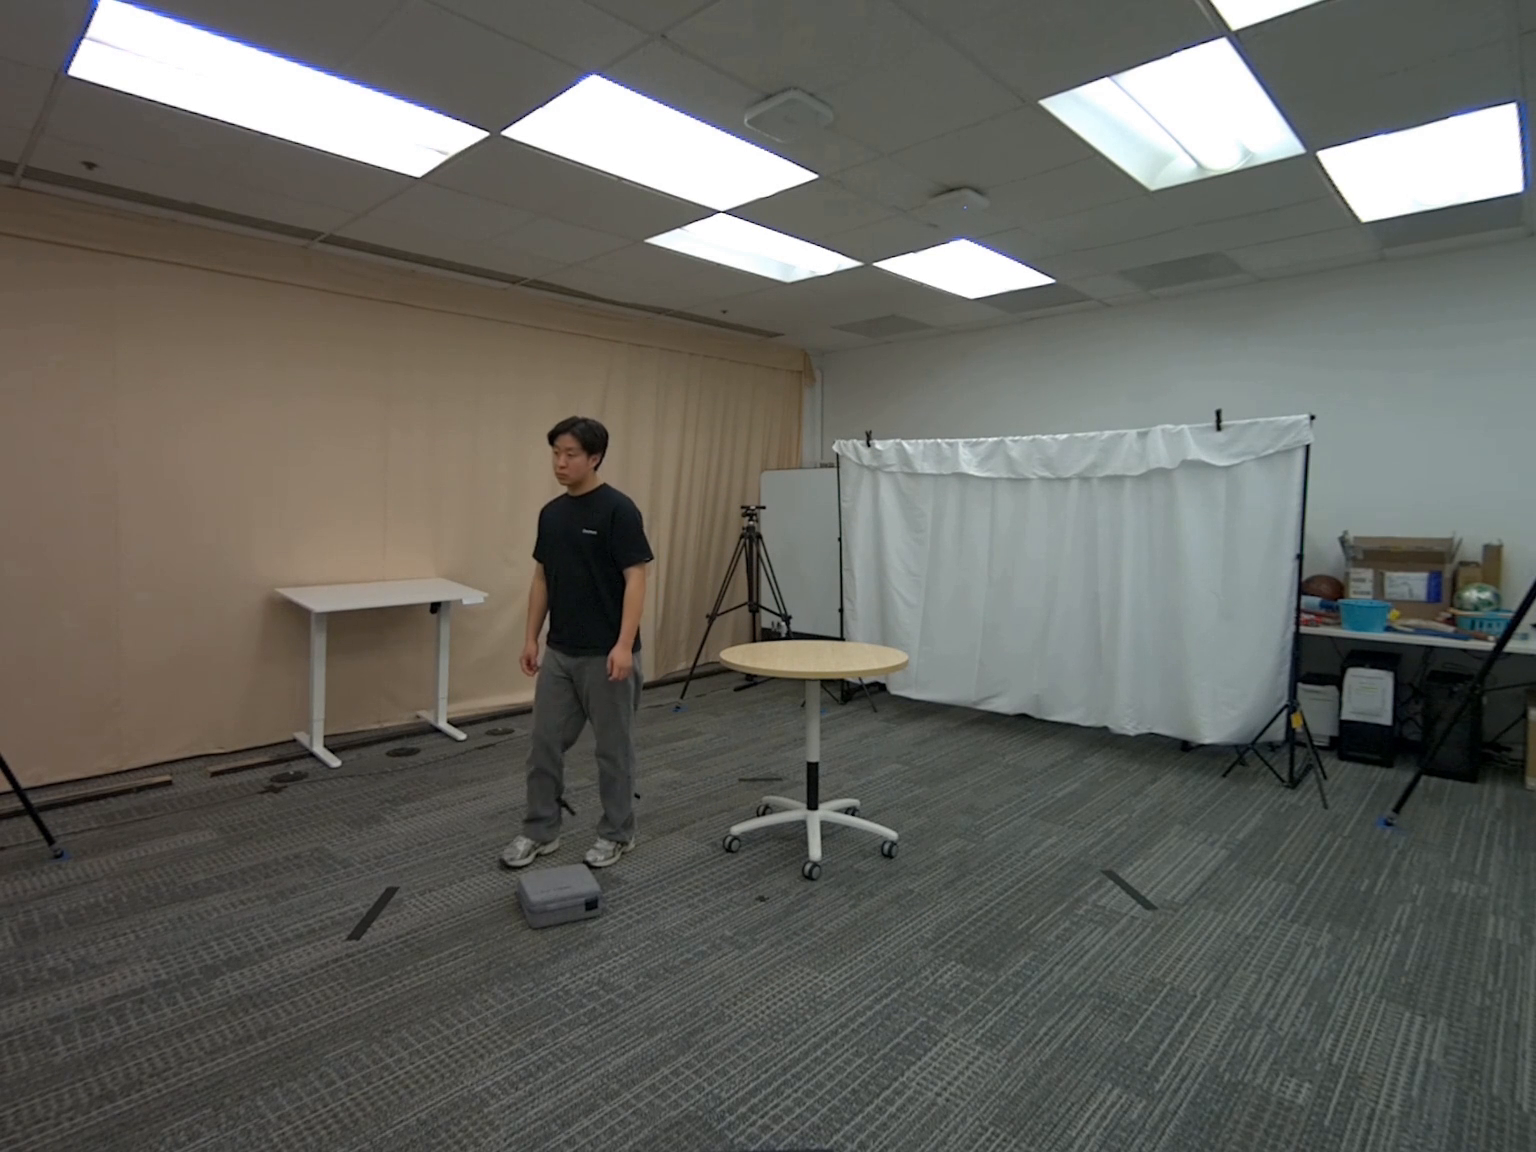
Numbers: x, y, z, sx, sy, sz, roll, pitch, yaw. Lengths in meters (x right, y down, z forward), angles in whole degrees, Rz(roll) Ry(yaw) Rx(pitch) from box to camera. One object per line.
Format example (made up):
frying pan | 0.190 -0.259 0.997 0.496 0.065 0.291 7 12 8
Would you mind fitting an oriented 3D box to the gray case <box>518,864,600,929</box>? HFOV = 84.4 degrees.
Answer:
gray case | -0.729 1.102 2.924 0.257 0.103 0.294 -1 2 -25
